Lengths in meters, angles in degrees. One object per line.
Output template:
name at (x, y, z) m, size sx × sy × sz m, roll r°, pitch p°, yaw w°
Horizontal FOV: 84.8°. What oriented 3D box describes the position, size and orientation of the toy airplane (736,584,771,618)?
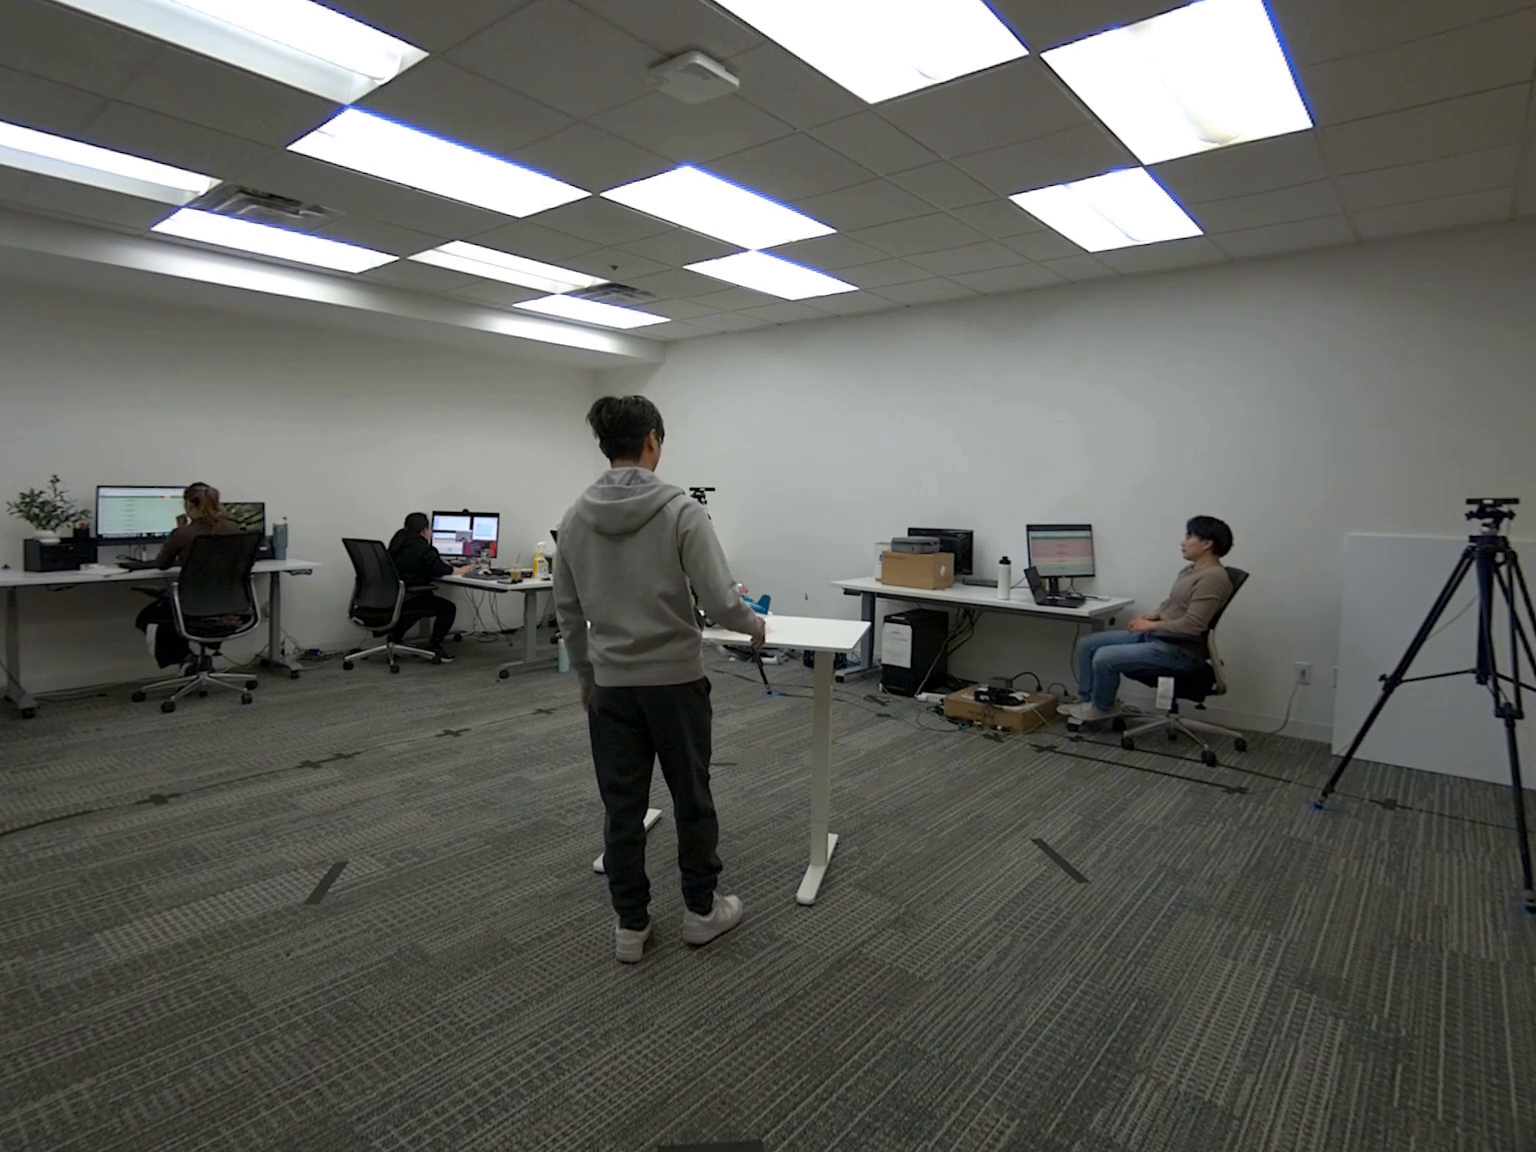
toy airplane at (-0.129, 0.107, 3.132) m, size 0.257 × 0.155 × 0.254 m, roll 0°, pitch 6°, yaw -7°
